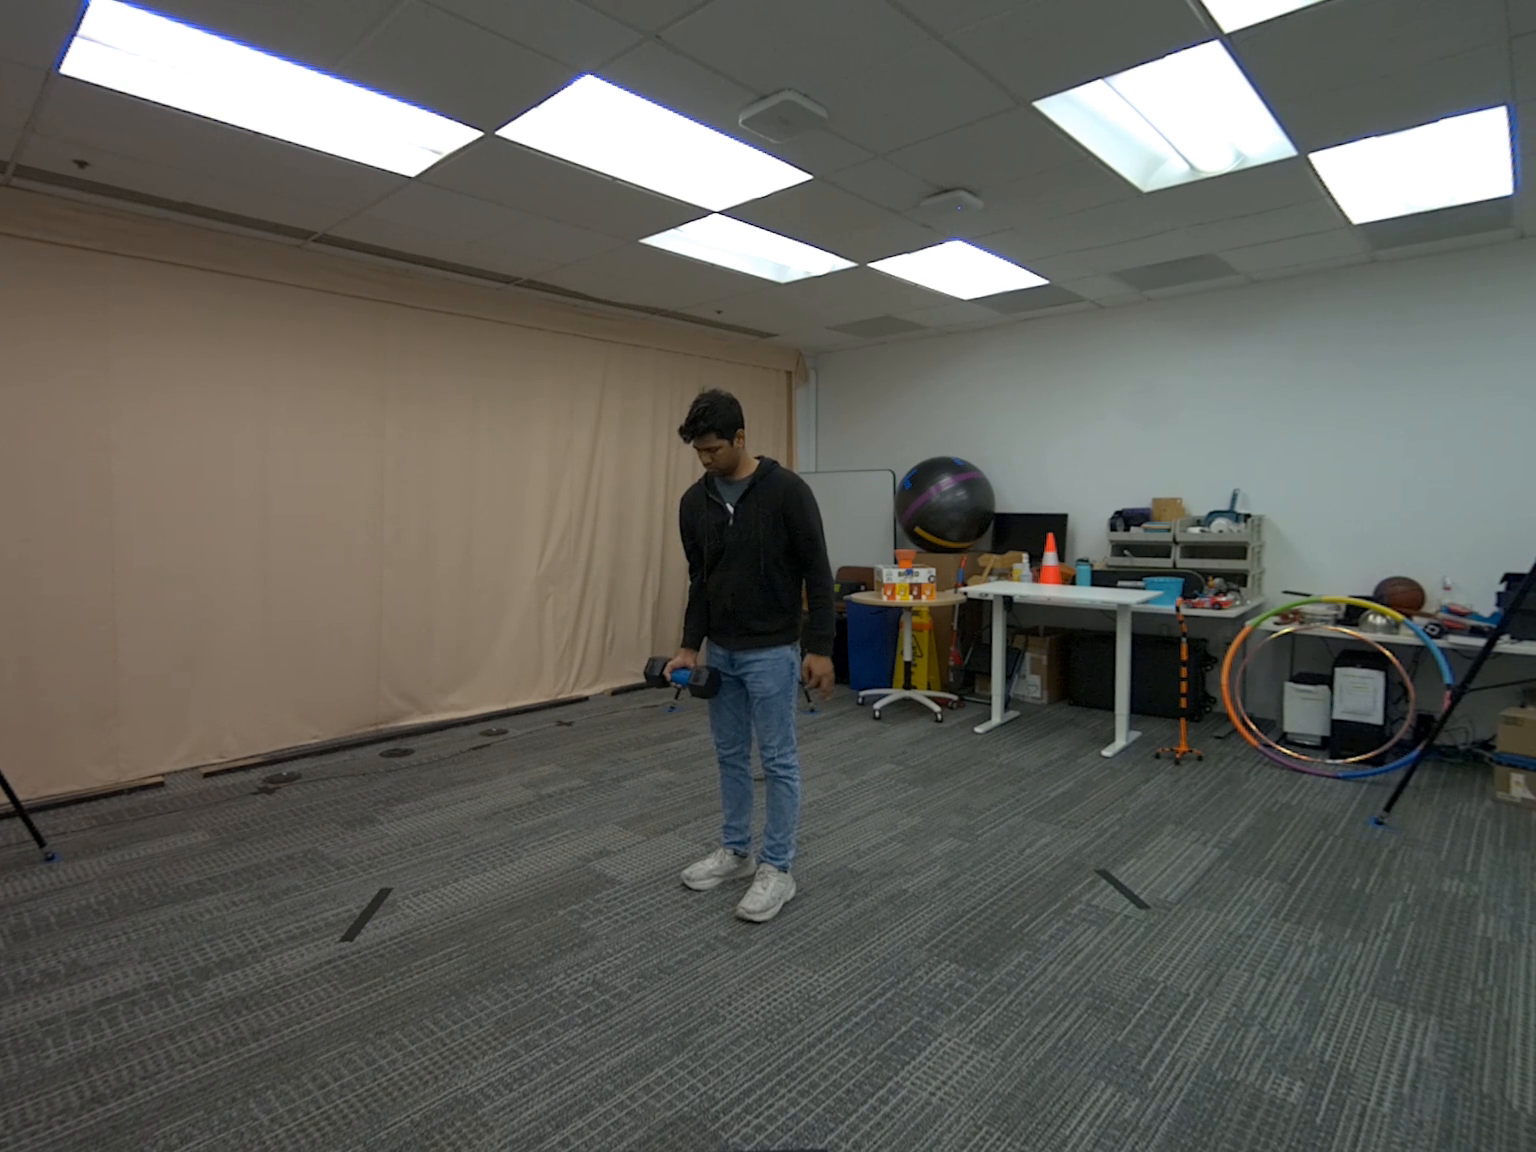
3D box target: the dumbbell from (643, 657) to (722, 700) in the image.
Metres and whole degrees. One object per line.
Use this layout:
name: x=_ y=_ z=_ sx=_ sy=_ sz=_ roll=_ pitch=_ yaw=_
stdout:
dumbbell: x=-0.313 y=0.357 z=3.001 sx=0.303 sy=0.120 sz=0.107 roll=6 pitch=32 yaw=35
